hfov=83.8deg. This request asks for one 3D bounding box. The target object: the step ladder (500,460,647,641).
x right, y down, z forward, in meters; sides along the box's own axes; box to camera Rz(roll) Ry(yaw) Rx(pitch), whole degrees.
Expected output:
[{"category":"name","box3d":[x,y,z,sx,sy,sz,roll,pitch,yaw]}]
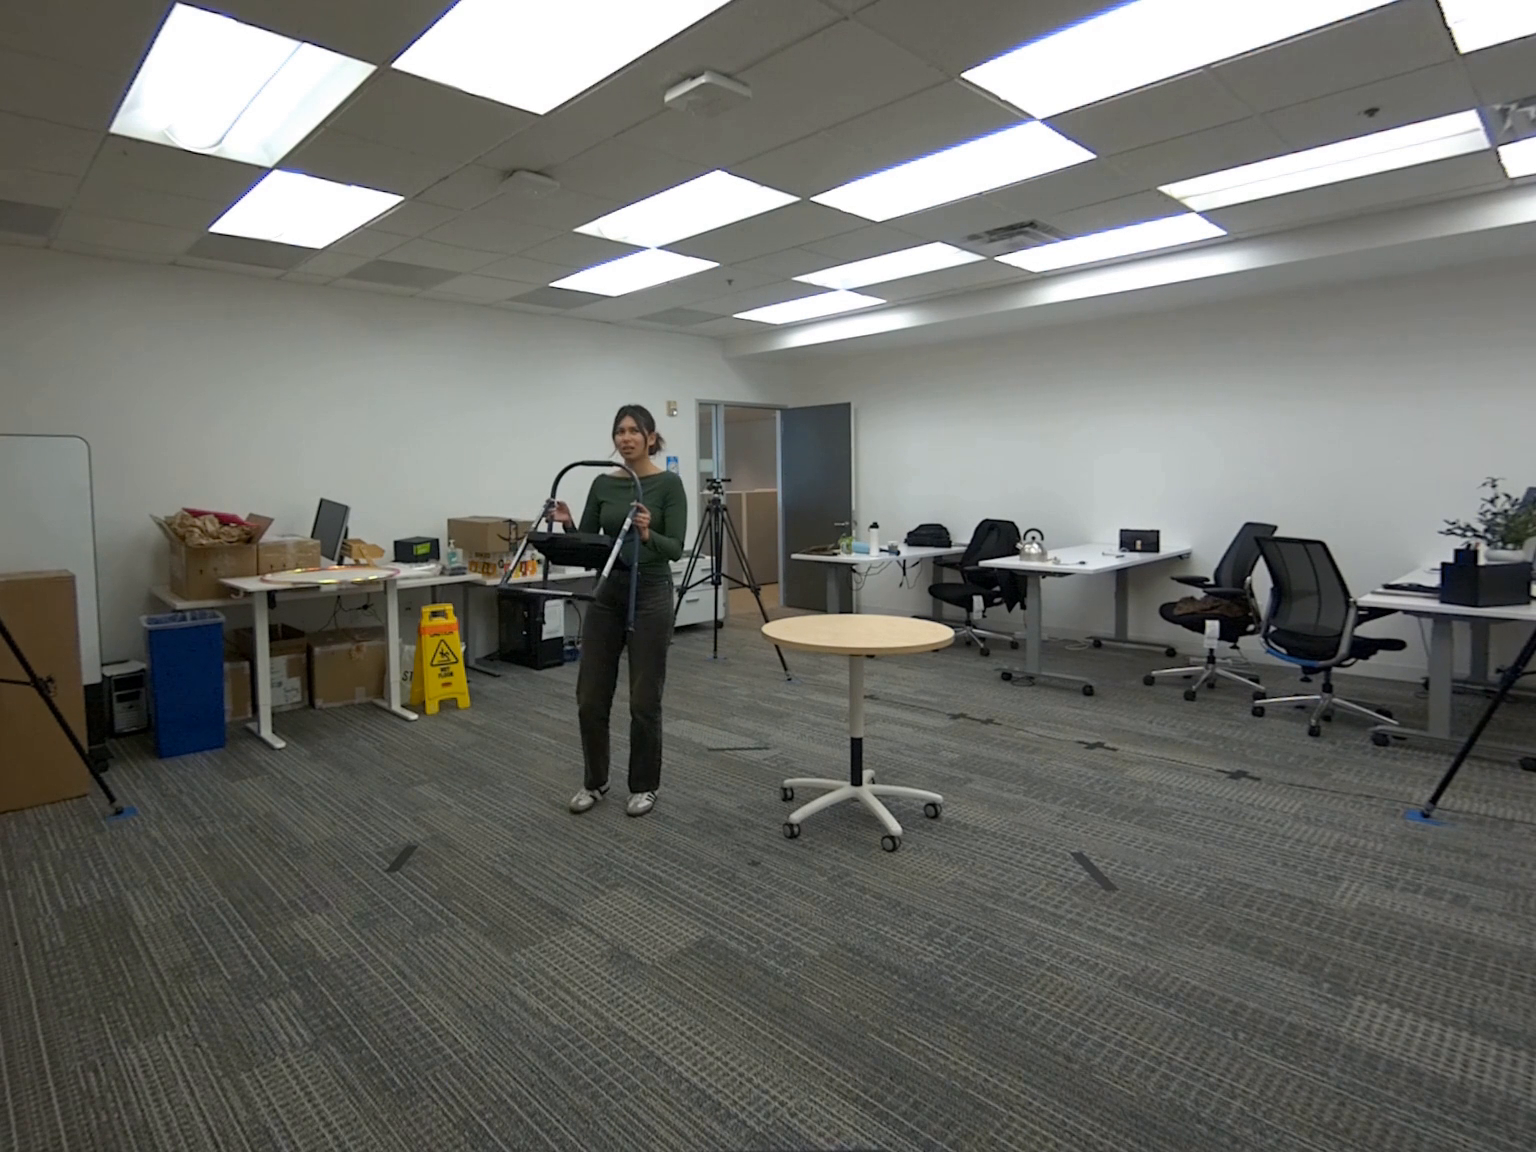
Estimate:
[{"category":"step ladder","box3d":[-0.711,-0.141,3.301,0.439,0.615,0.337,3,-23,20]}]
